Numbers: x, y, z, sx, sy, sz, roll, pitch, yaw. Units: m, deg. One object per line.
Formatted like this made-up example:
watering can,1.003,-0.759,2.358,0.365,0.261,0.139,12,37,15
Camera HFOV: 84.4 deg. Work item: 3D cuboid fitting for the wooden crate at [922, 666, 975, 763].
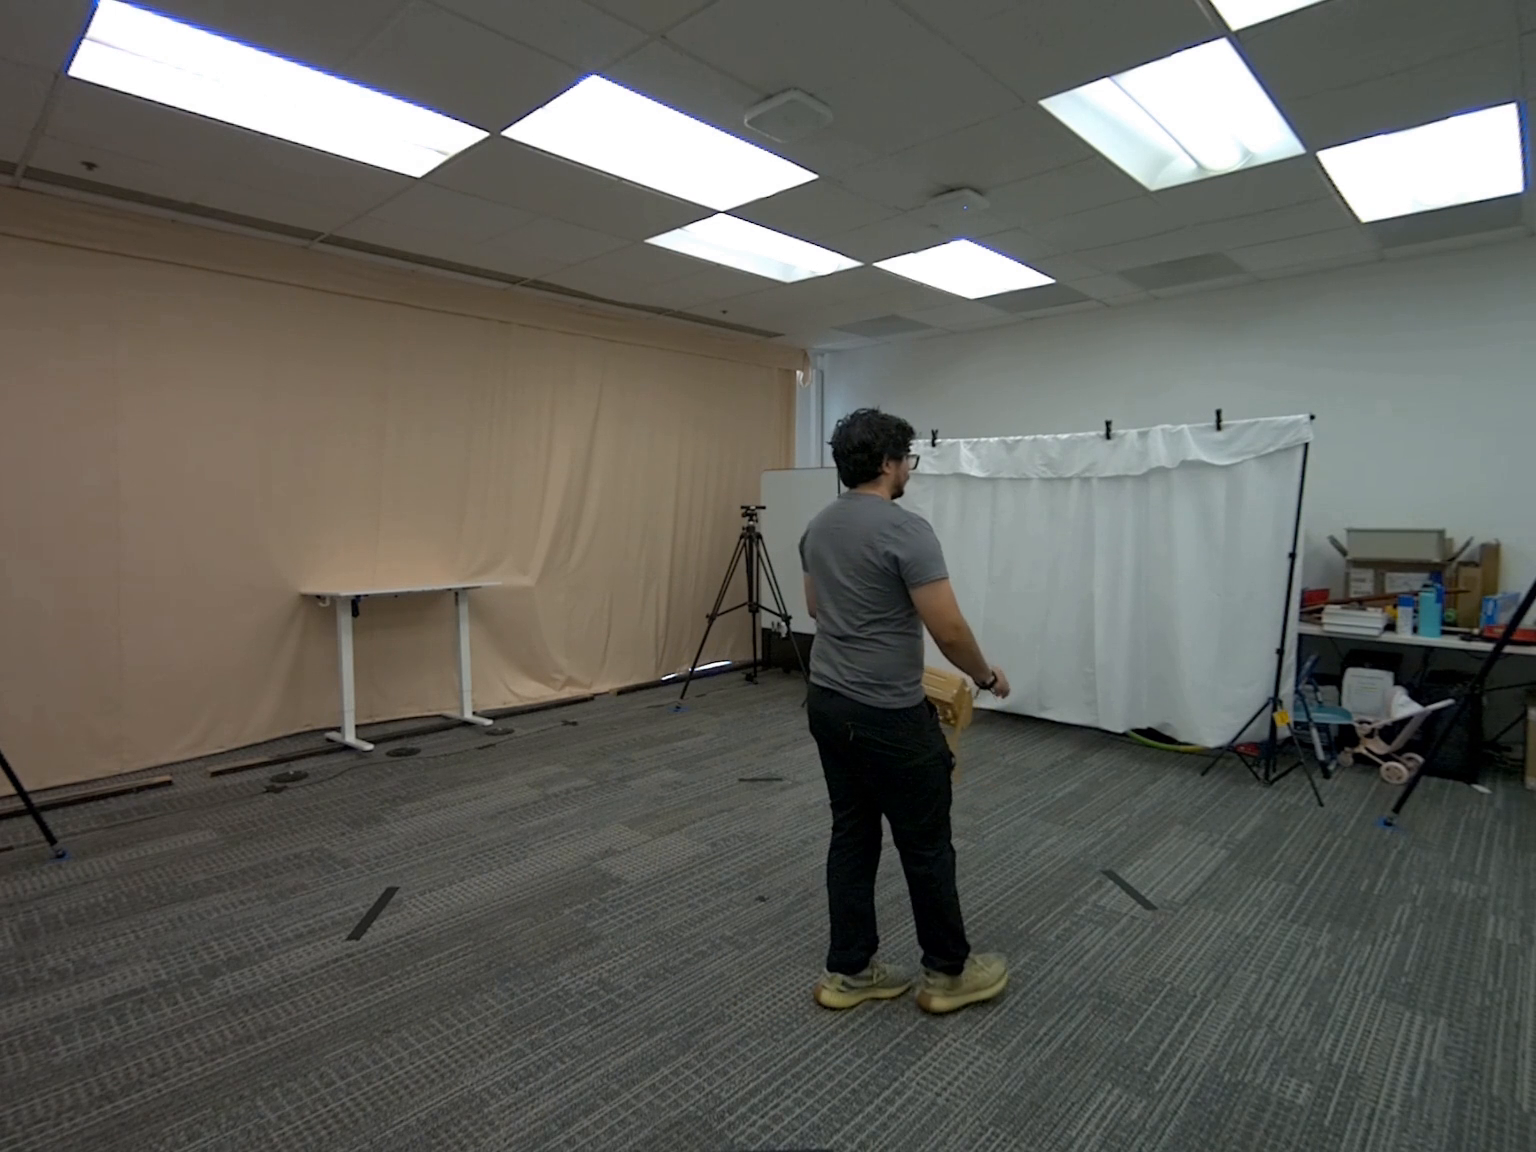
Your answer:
wooden crate,0.466,0.456,2.696,0.336,0.273,0.292,16,-27,35
